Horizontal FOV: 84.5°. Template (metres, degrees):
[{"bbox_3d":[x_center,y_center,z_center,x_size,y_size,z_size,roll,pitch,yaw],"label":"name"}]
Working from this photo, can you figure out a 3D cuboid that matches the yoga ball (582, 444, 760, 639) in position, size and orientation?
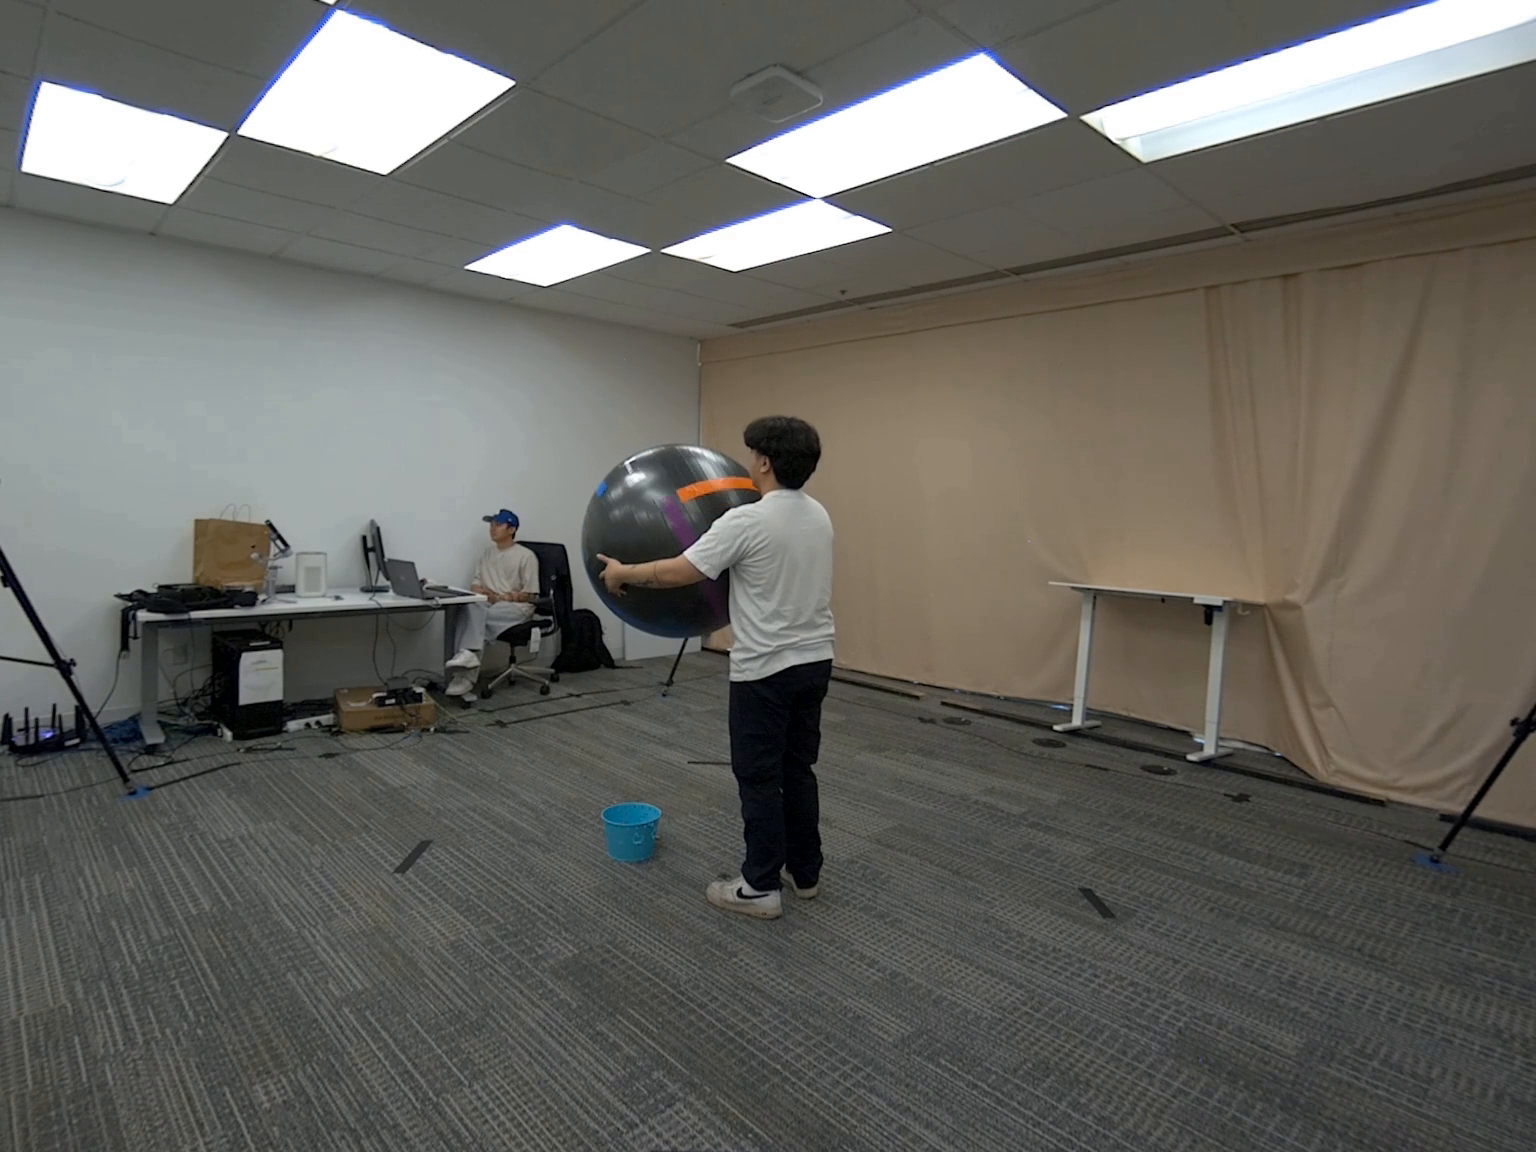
[{"bbox_3d":[-0.346,-0.134,3.286,0.757,0.756,0.760,1,4,-1],"label":"yoga ball"}]
